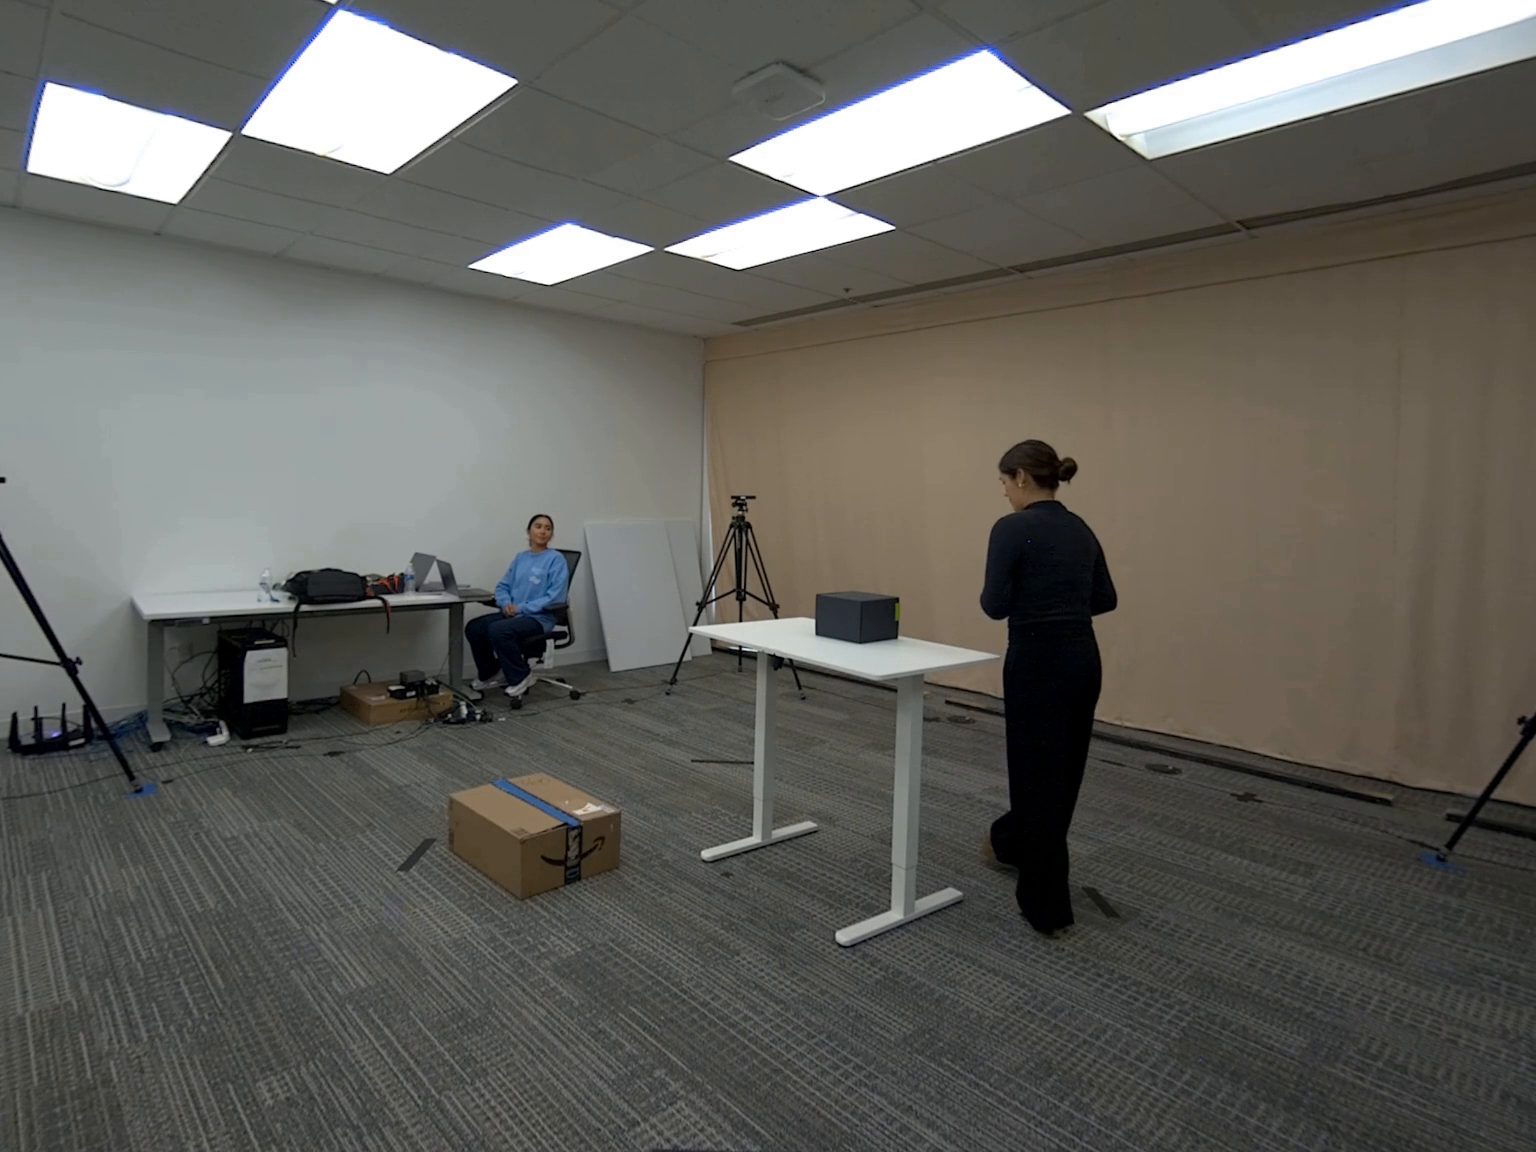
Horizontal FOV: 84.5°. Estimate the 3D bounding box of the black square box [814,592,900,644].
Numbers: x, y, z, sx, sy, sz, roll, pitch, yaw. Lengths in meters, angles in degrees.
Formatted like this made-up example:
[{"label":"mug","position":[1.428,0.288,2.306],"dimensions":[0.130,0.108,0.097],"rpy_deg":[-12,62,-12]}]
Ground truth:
[{"label":"black square box","position":[0.325,0.150,3.135],"dimensions":[0.212,0.155,0.234],"rpy_deg":[-2,6,-41]}]
